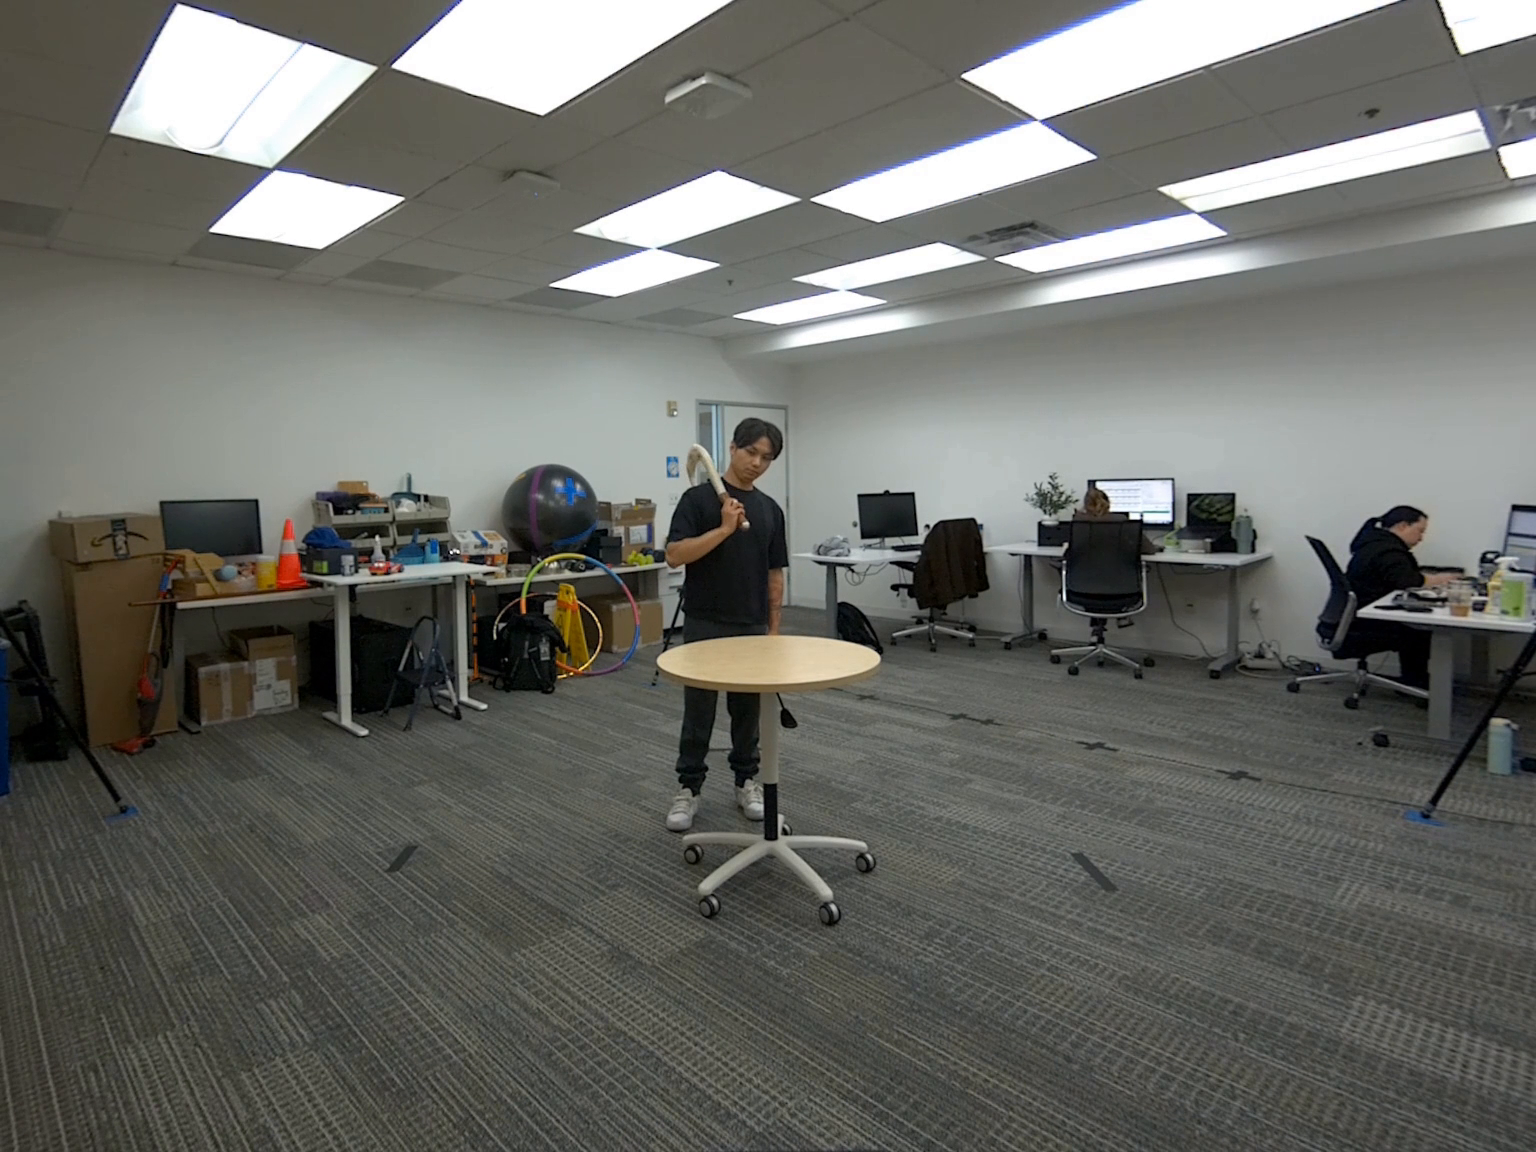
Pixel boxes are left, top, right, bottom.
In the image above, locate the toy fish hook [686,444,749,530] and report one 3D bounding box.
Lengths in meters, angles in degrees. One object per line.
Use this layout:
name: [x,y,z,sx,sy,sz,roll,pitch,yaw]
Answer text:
toy fish hook: [-0.217,-0.333,3.502,0.047,0.220,0.525,-14,52,-23]
